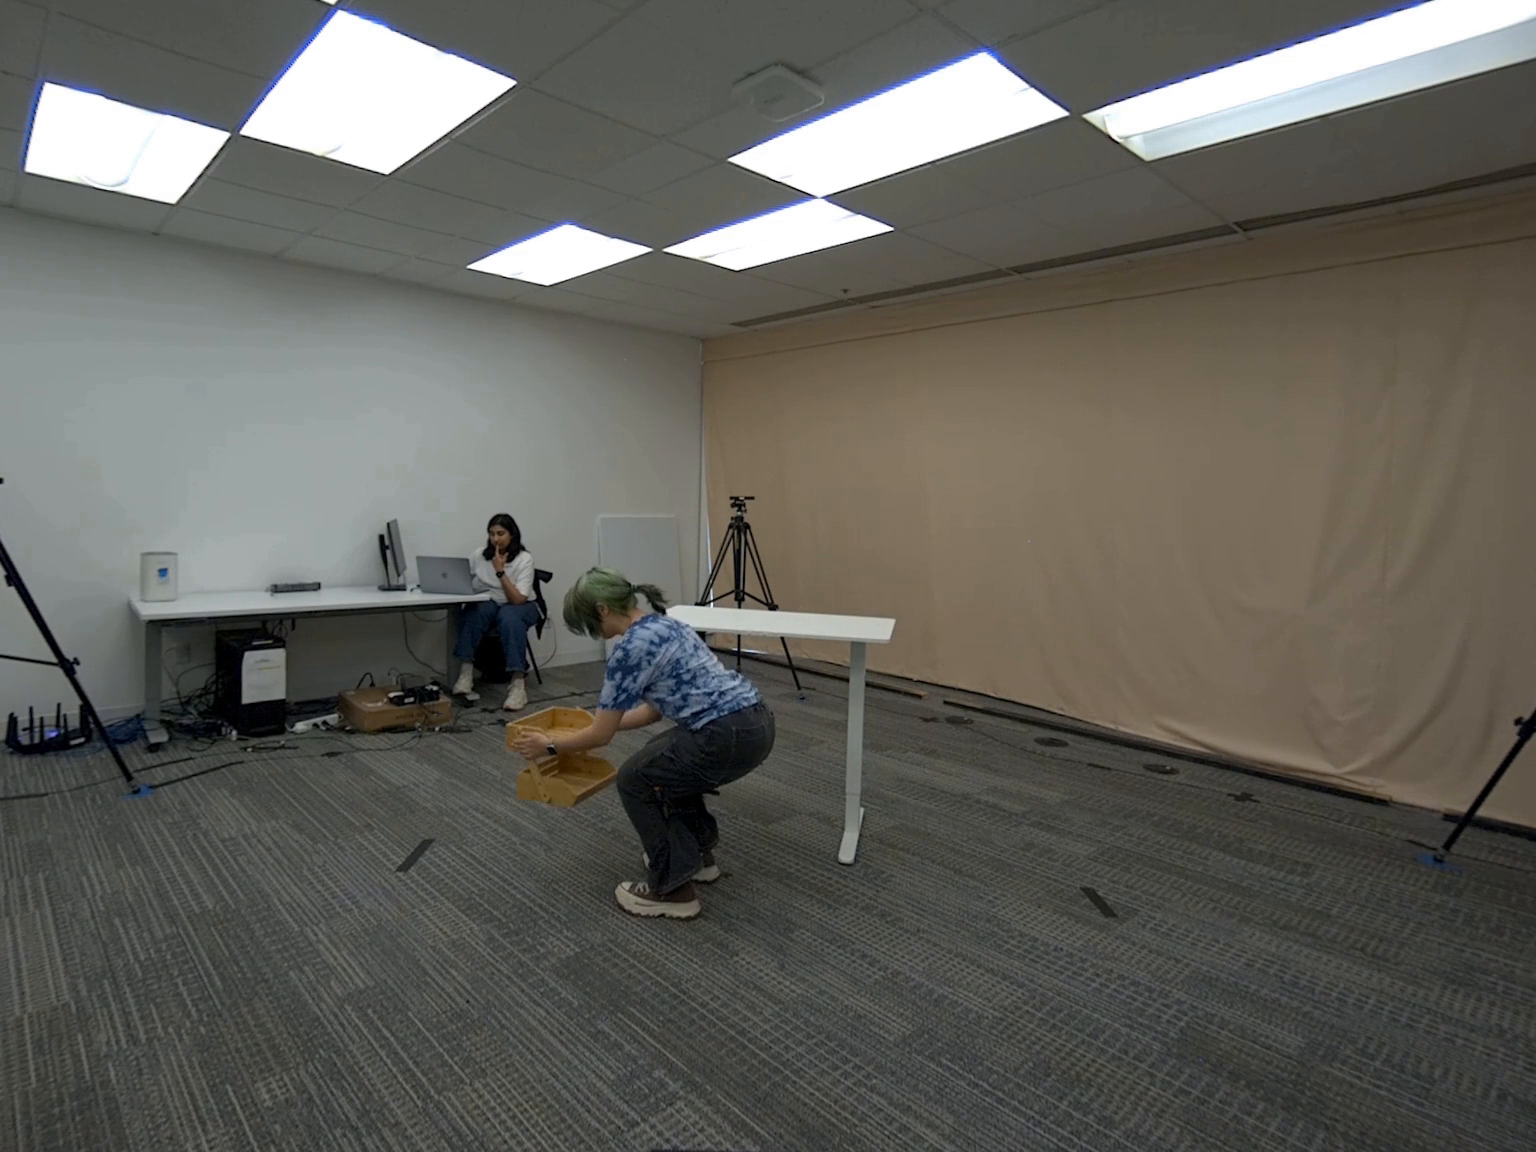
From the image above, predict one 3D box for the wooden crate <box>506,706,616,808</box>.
[{"bbox_3d":[-0.745,0.655,3.102,0.307,0.272,0.320,3,4,20],"label":"wooden crate"}]
